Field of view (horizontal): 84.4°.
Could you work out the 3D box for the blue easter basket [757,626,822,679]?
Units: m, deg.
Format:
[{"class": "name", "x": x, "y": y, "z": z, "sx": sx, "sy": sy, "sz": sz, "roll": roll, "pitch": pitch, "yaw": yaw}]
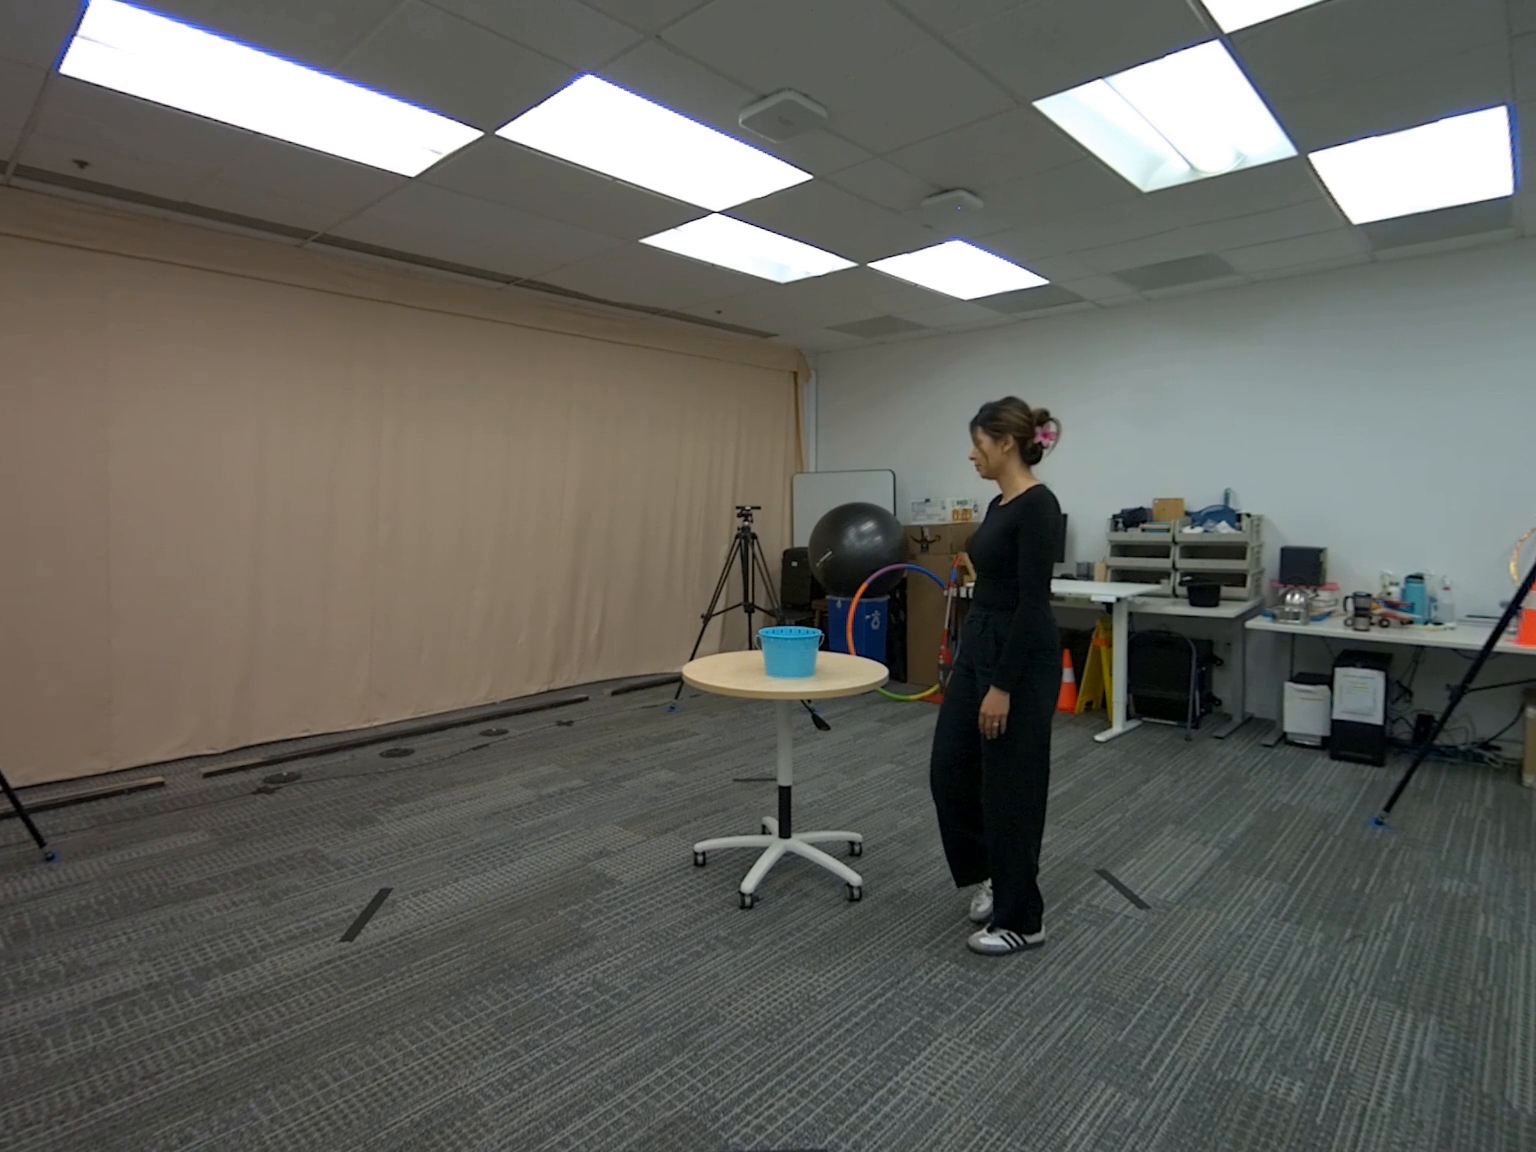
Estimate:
[{"class": "blue easter basket", "x": 0.089, "y": 0.281, "z": 3.068, "sx": 0.243, "sy": 0.155, "sz": 0.244, "roll": 0, "pitch": 5, "yaw": -2}]
